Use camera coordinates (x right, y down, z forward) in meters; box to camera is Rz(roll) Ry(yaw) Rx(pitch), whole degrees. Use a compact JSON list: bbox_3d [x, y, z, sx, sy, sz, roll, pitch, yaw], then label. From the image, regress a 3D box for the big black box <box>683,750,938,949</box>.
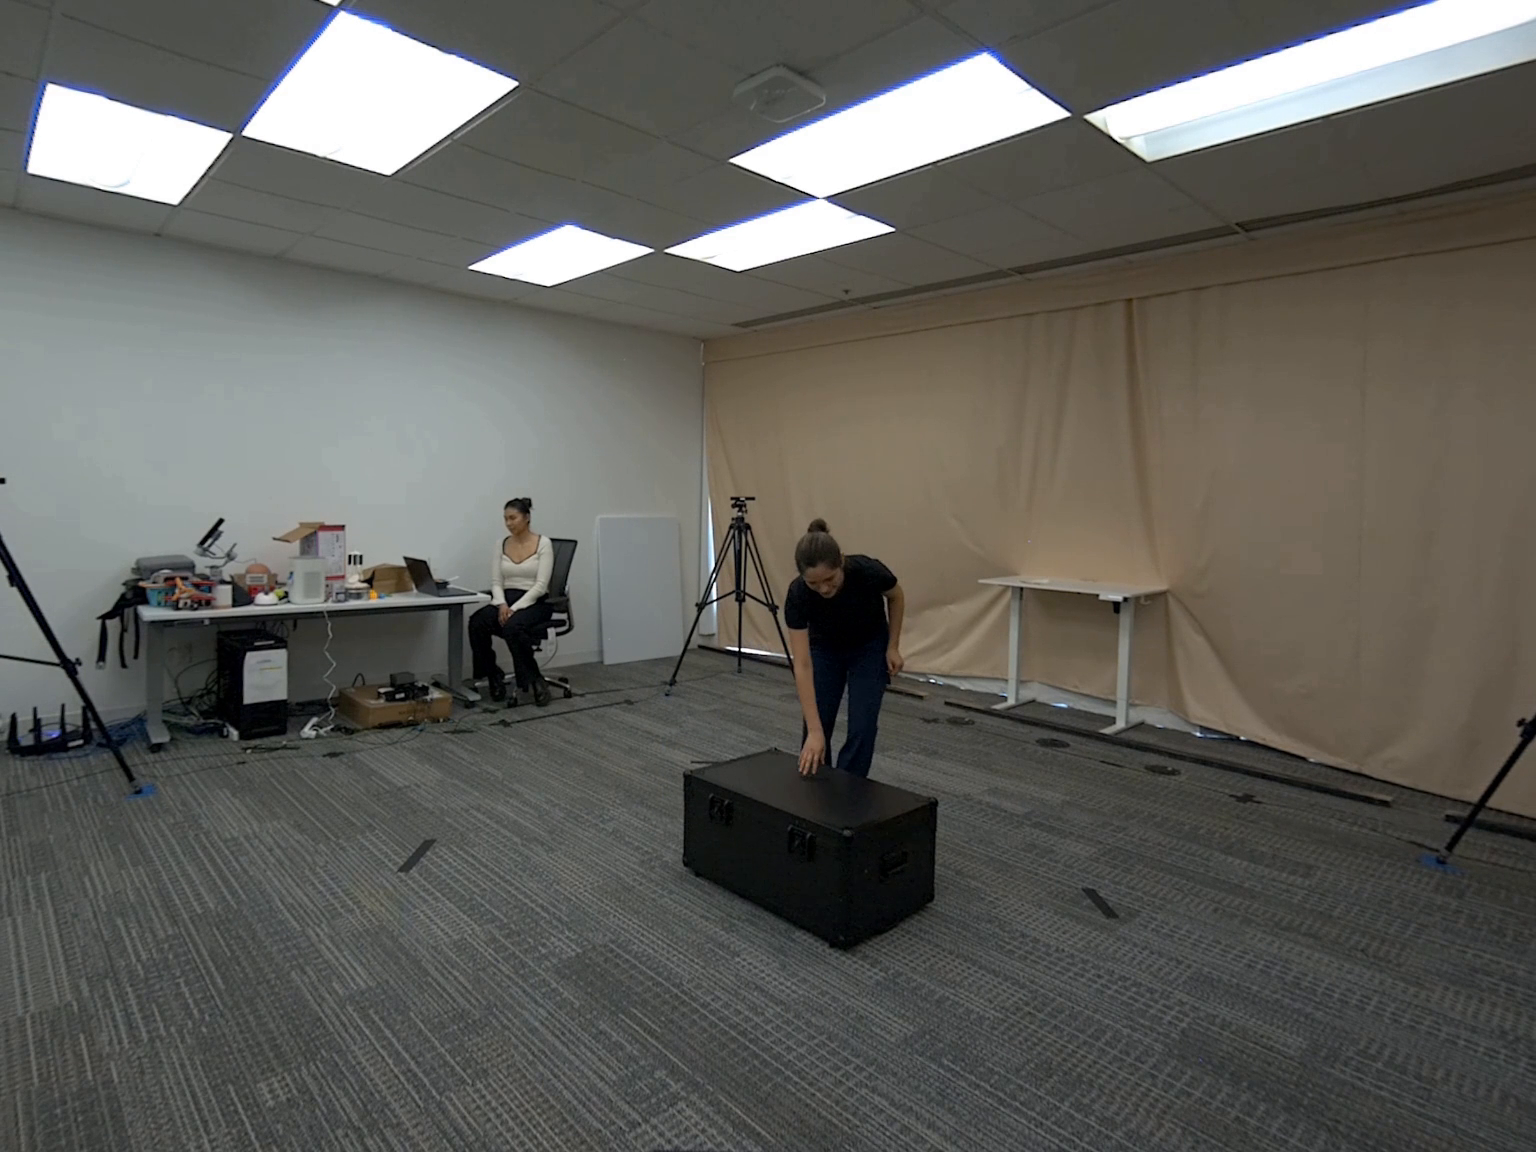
[{"bbox_3d":[0.099,0.912,3.011,0.509,0.395,0.883,-3,6,-45],"label":"big black box"}]
